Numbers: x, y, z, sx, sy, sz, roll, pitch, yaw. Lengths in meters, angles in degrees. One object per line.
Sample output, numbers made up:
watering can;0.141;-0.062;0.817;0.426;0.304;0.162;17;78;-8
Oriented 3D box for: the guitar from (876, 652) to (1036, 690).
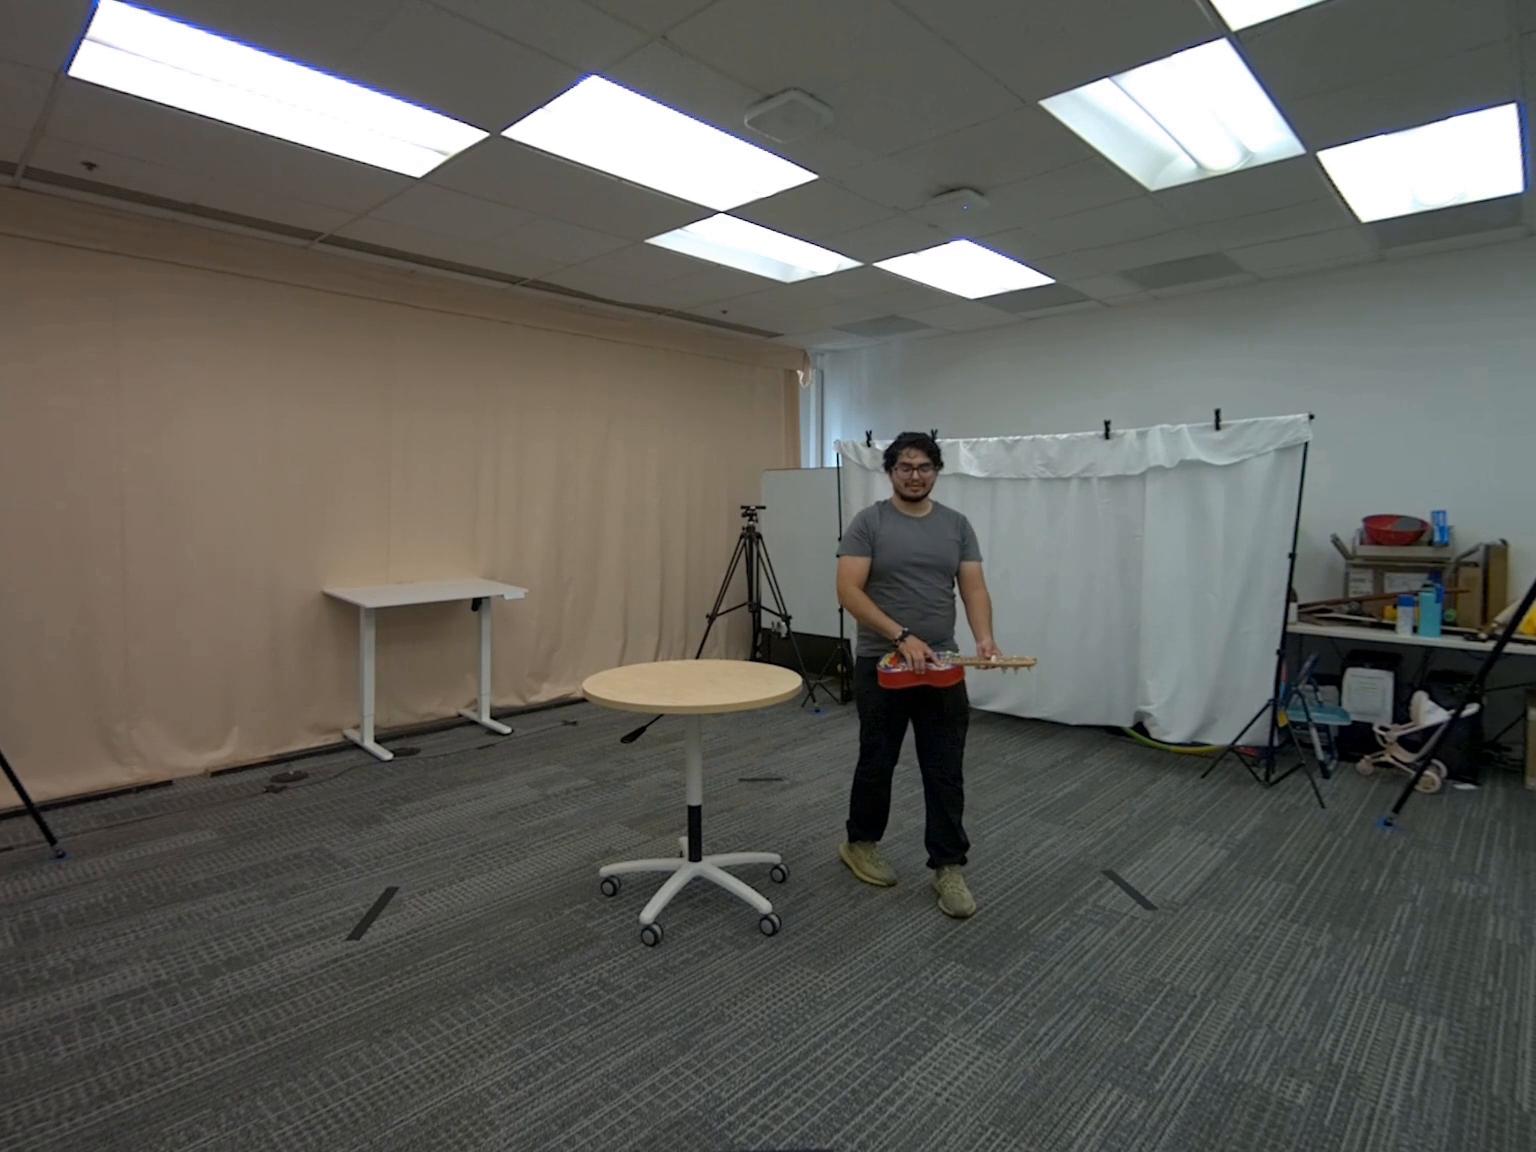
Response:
guitar;0.589;0.309;2.696;0.514;0.070;0.189;2;19;38
